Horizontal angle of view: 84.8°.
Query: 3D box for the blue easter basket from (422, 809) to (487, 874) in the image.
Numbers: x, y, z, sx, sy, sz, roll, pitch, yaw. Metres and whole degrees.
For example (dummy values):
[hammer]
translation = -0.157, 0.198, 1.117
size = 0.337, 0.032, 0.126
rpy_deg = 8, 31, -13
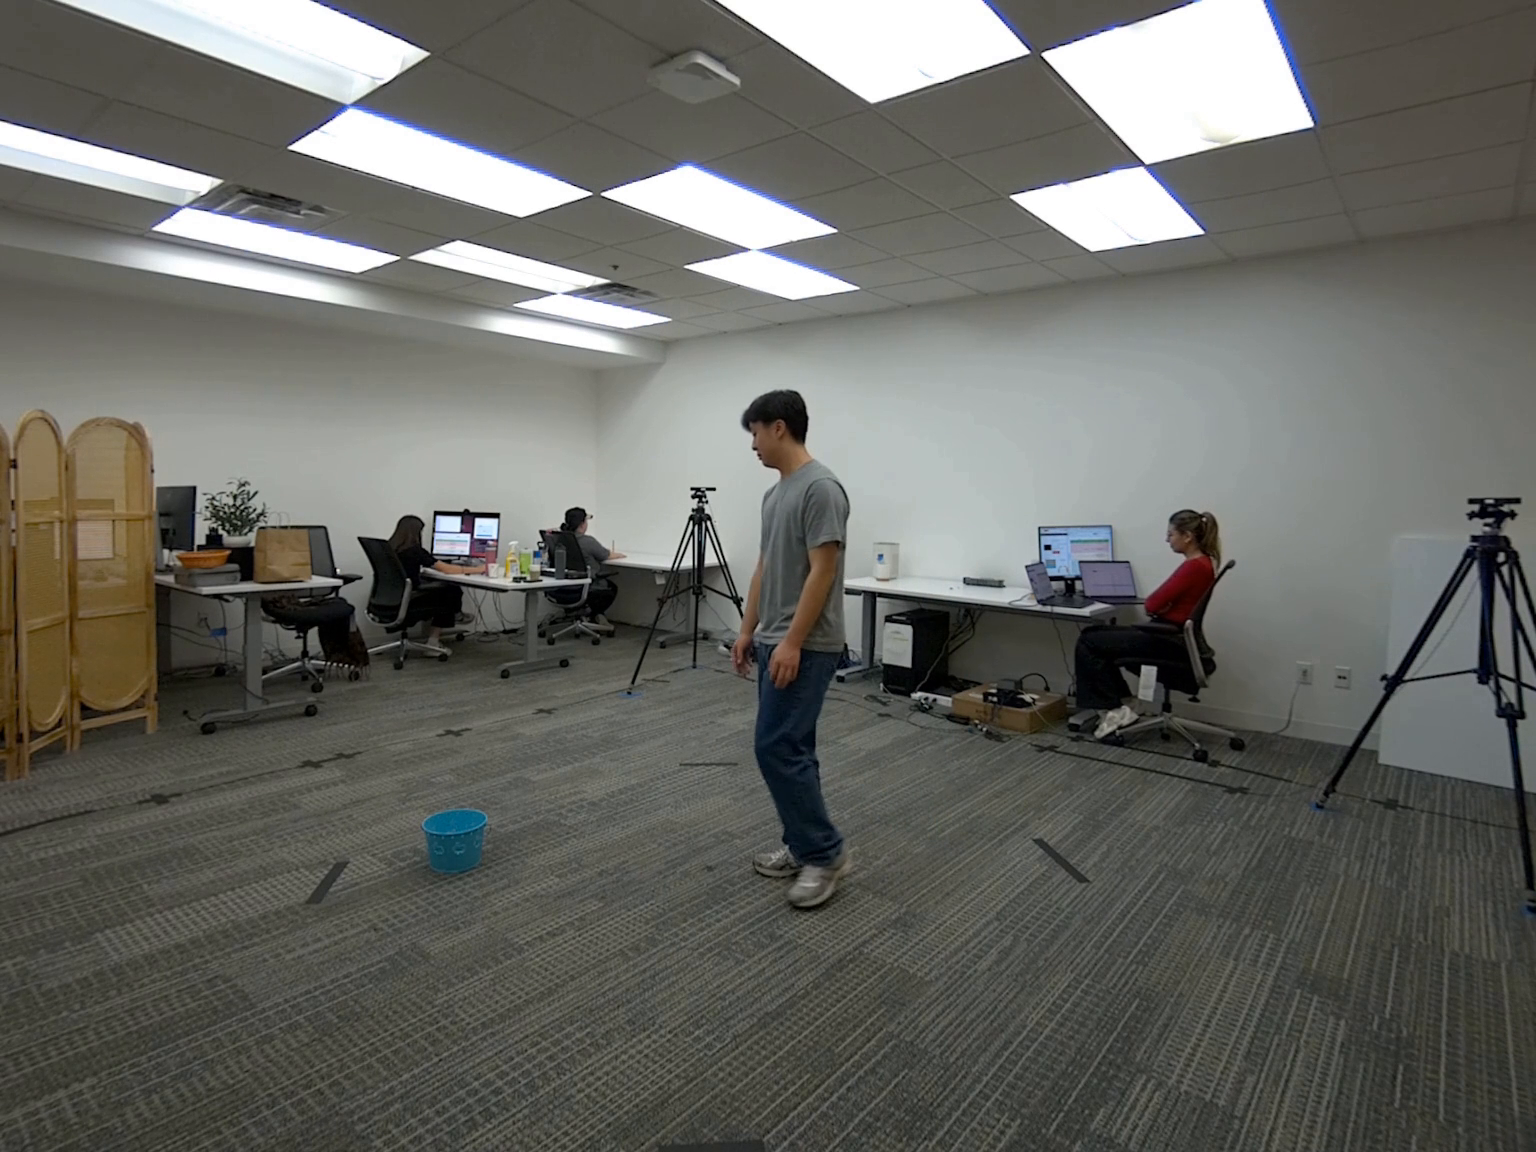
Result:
[blue easter basket]
translation = -1.162, 0.975, 3.126
size = 0.243, 0.155, 0.245
rpy_deg = 1, 5, -2
